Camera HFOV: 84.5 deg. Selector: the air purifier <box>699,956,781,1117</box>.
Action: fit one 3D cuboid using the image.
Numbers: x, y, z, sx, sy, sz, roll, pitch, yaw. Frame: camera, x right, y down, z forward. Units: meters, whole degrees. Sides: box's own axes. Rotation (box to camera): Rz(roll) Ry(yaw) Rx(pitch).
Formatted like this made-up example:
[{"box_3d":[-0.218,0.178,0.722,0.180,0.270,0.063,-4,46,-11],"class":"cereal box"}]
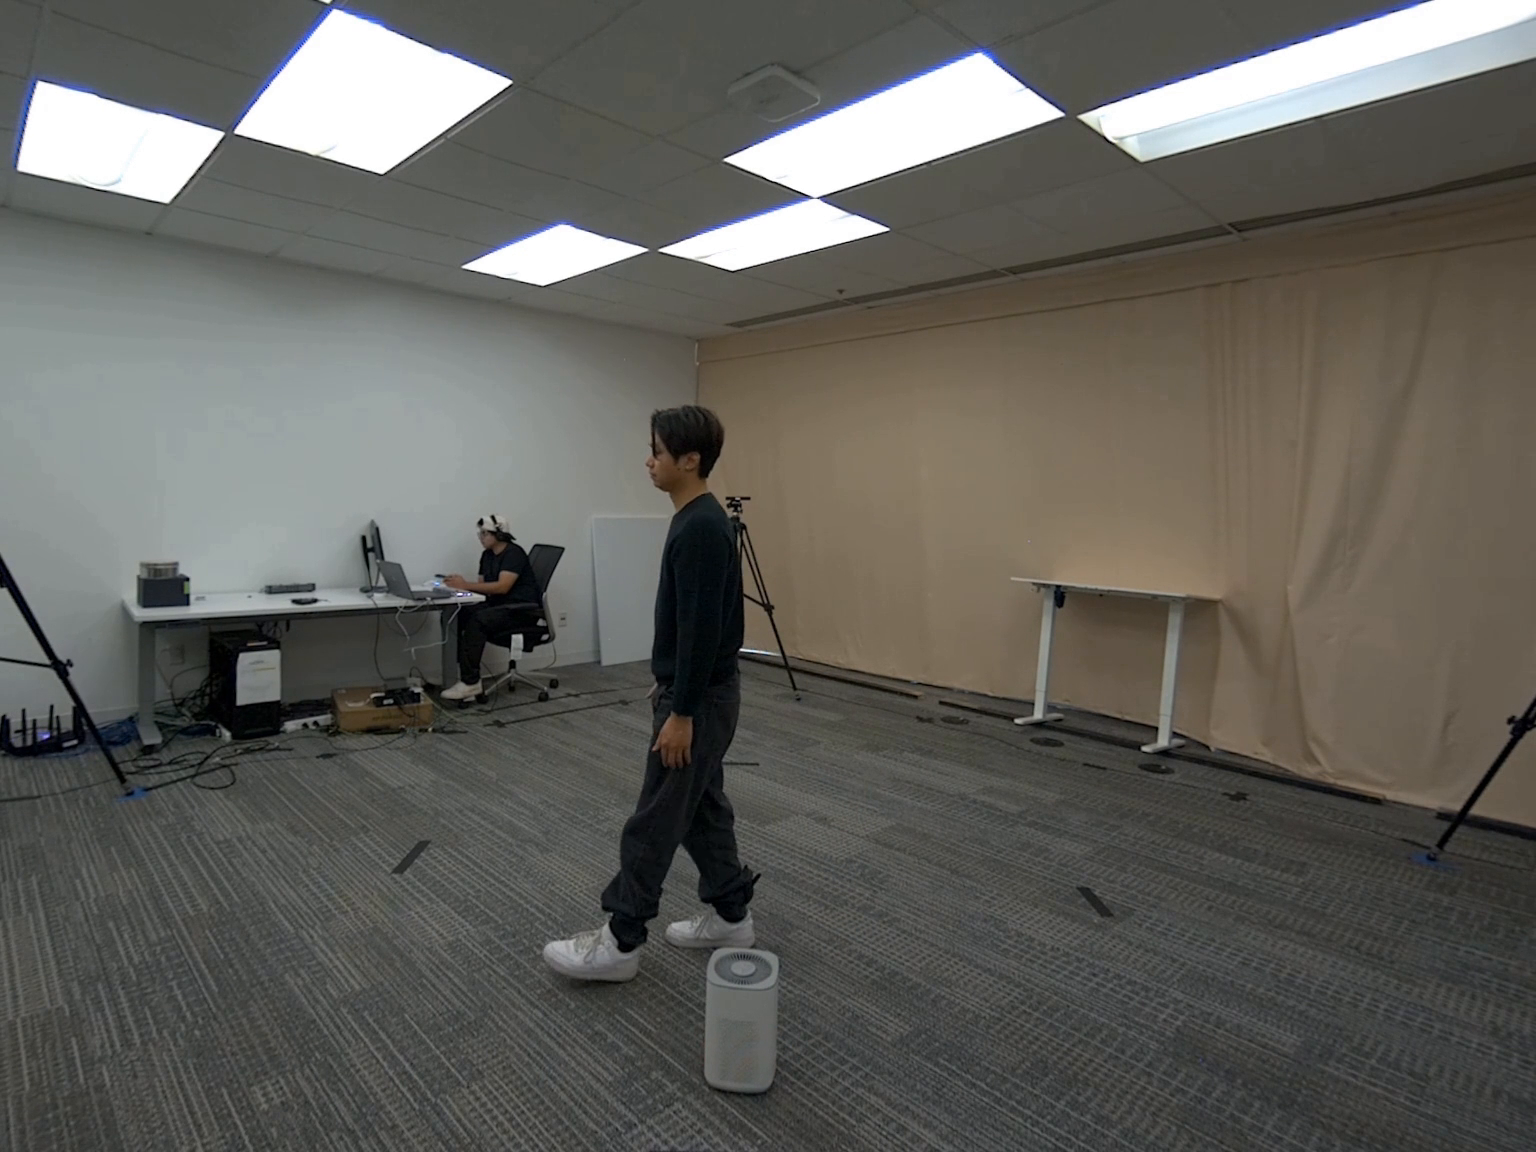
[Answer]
[{"box_3d":[-0.065,1.087,2.013,0.172,0.265,0.171,2,4,5],"class":"air purifier"}]
